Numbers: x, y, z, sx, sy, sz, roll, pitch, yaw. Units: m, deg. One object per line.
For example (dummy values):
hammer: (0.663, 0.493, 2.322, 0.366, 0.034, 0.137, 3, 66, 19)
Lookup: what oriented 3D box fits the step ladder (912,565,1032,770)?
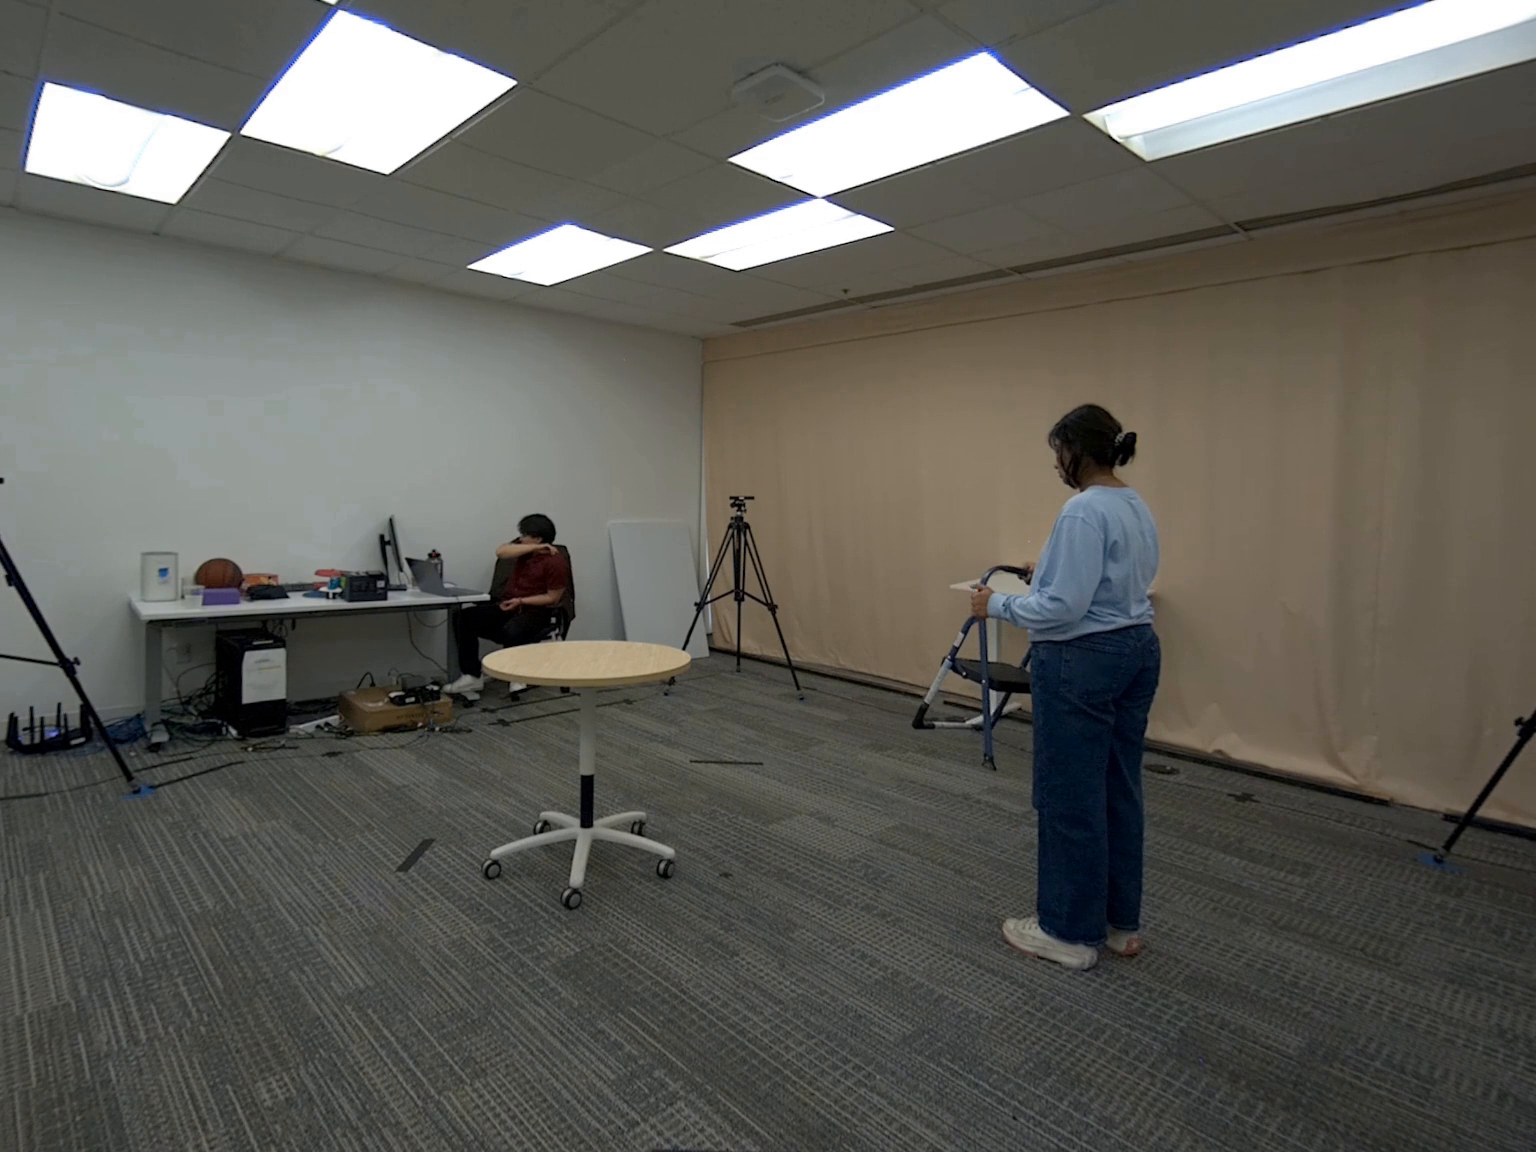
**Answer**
step ladder: (0.798, 0.282, 2.799, 0.419, 0.604, 0.359, 10, 7, -37)
